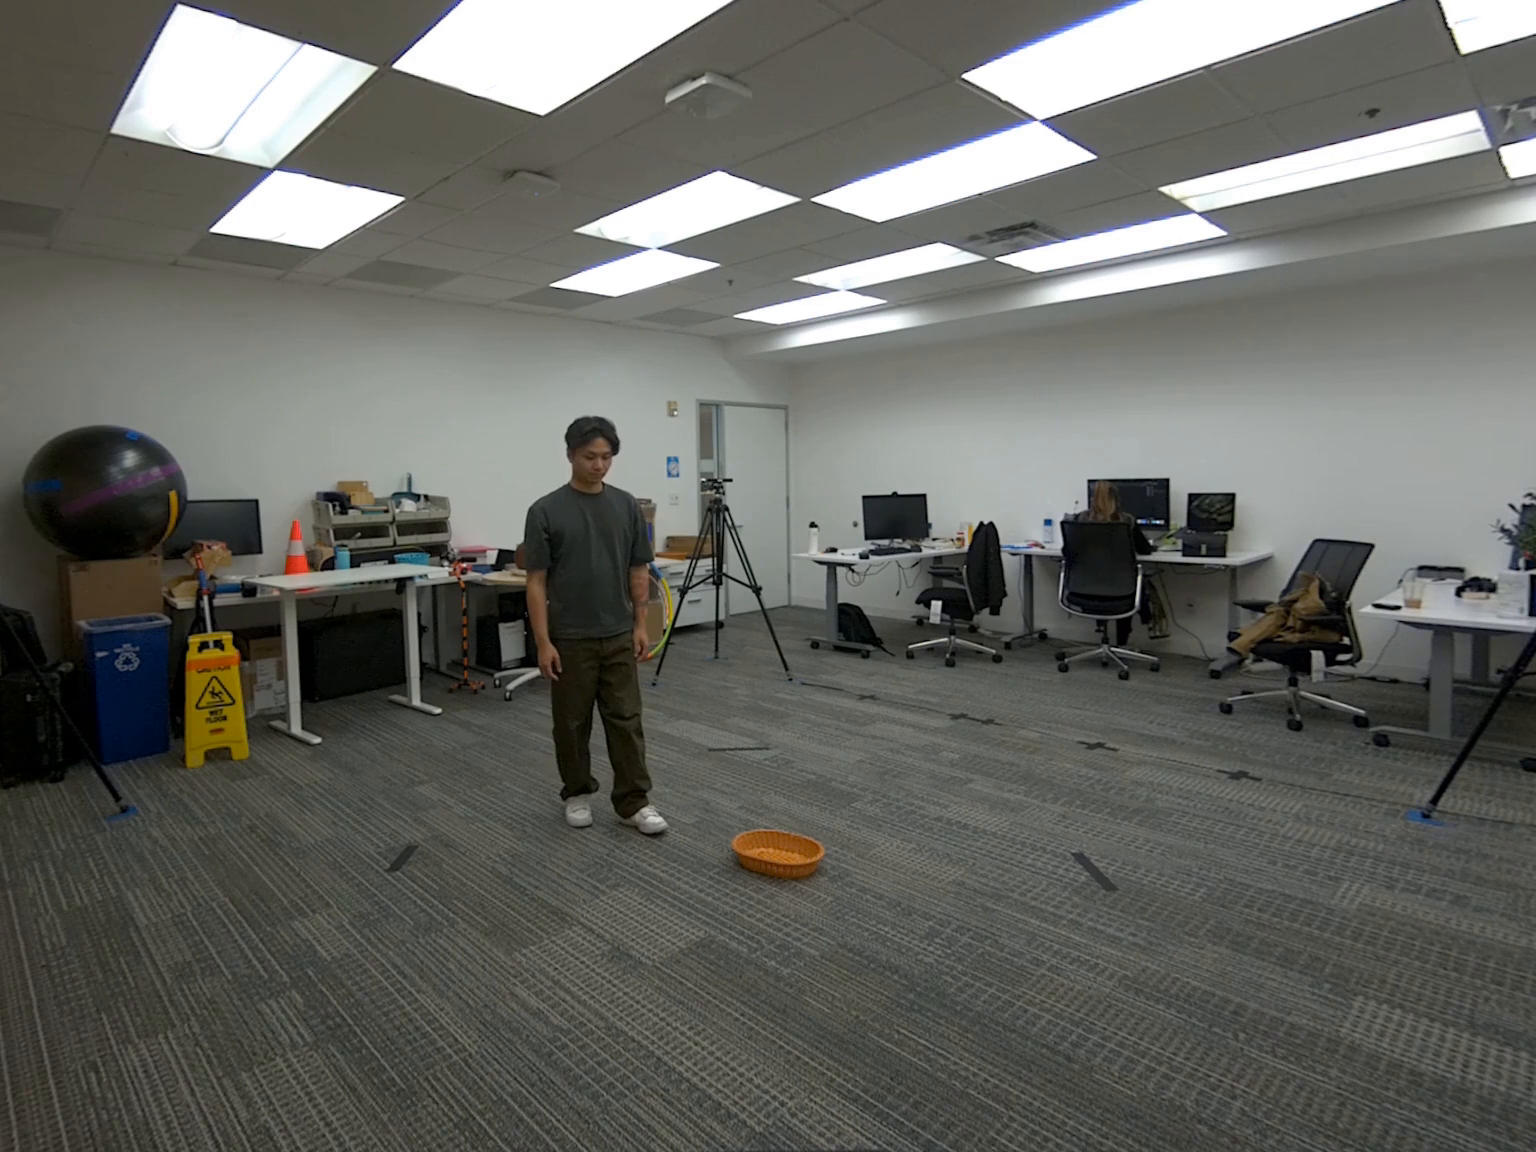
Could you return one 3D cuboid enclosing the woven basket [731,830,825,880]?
[{"bbox_3d":[0.037,1.004,3.094,0.360,0.073,0.247,3,7,32],"label":"woven basket"}]
